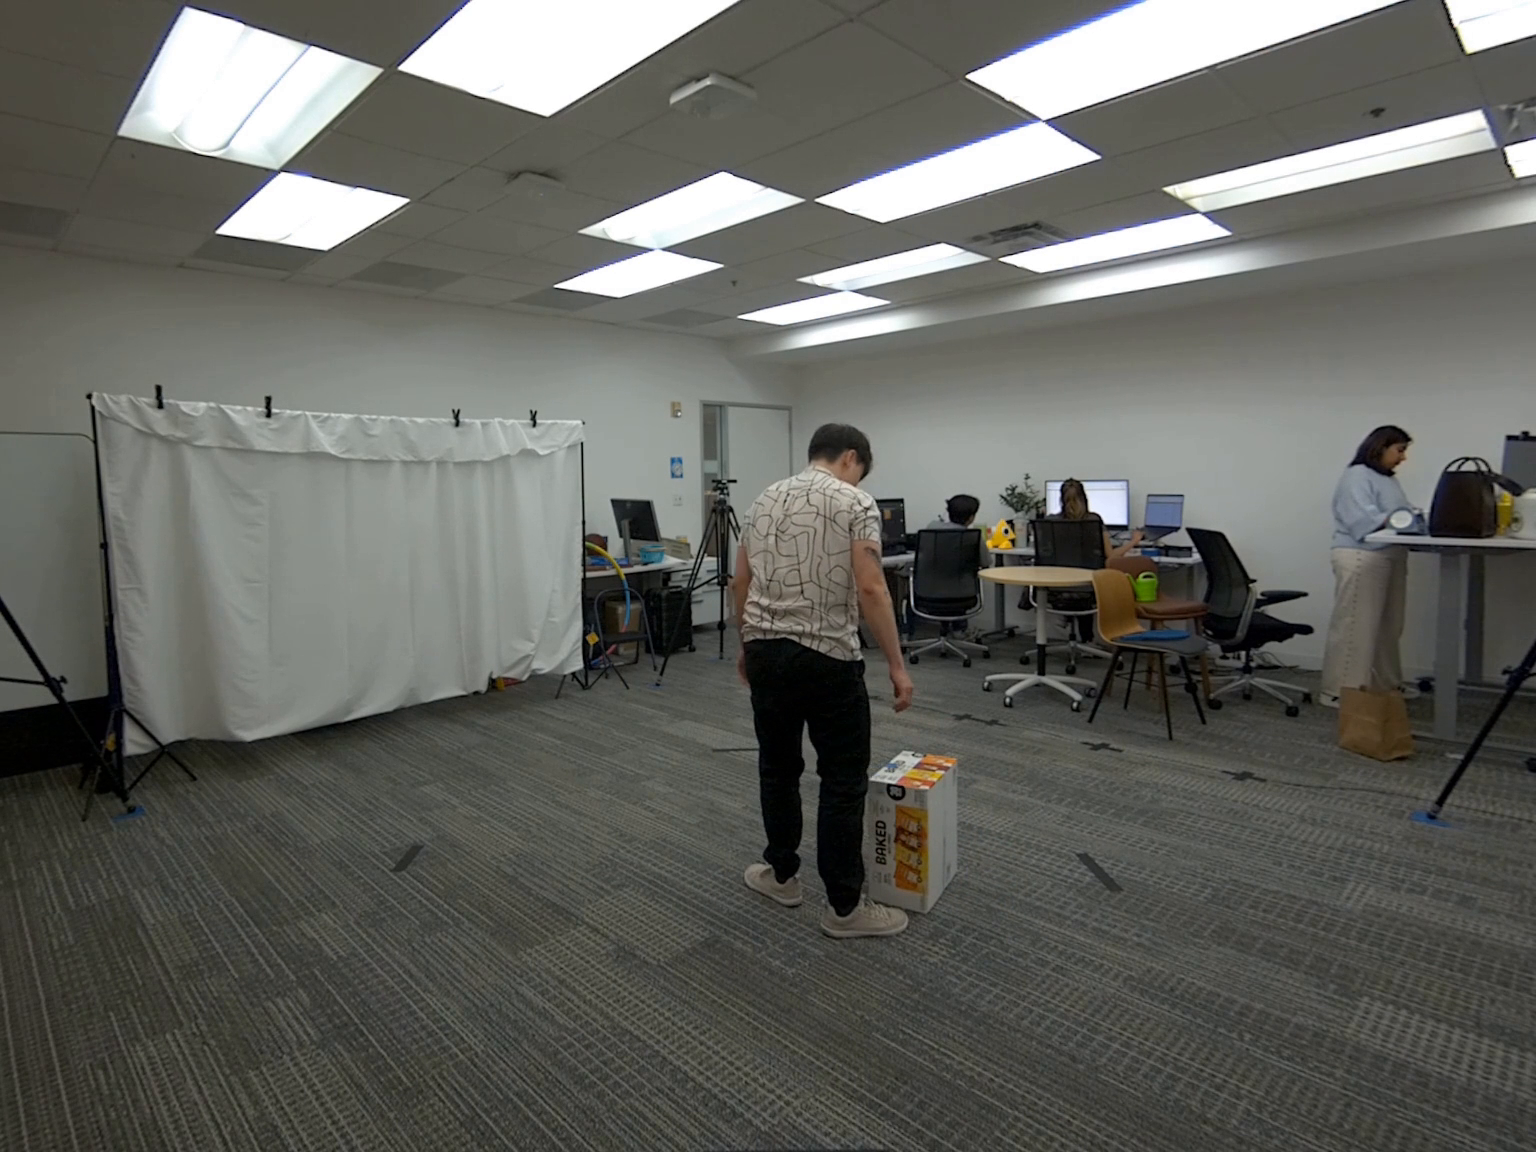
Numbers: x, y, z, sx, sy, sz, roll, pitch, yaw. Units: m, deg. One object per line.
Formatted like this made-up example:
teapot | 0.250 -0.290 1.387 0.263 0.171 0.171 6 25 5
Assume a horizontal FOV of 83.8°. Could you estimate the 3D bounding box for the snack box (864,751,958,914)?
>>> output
snack box | 0.504 0.856 2.911 0.211 0.404 0.333 1 5 29
